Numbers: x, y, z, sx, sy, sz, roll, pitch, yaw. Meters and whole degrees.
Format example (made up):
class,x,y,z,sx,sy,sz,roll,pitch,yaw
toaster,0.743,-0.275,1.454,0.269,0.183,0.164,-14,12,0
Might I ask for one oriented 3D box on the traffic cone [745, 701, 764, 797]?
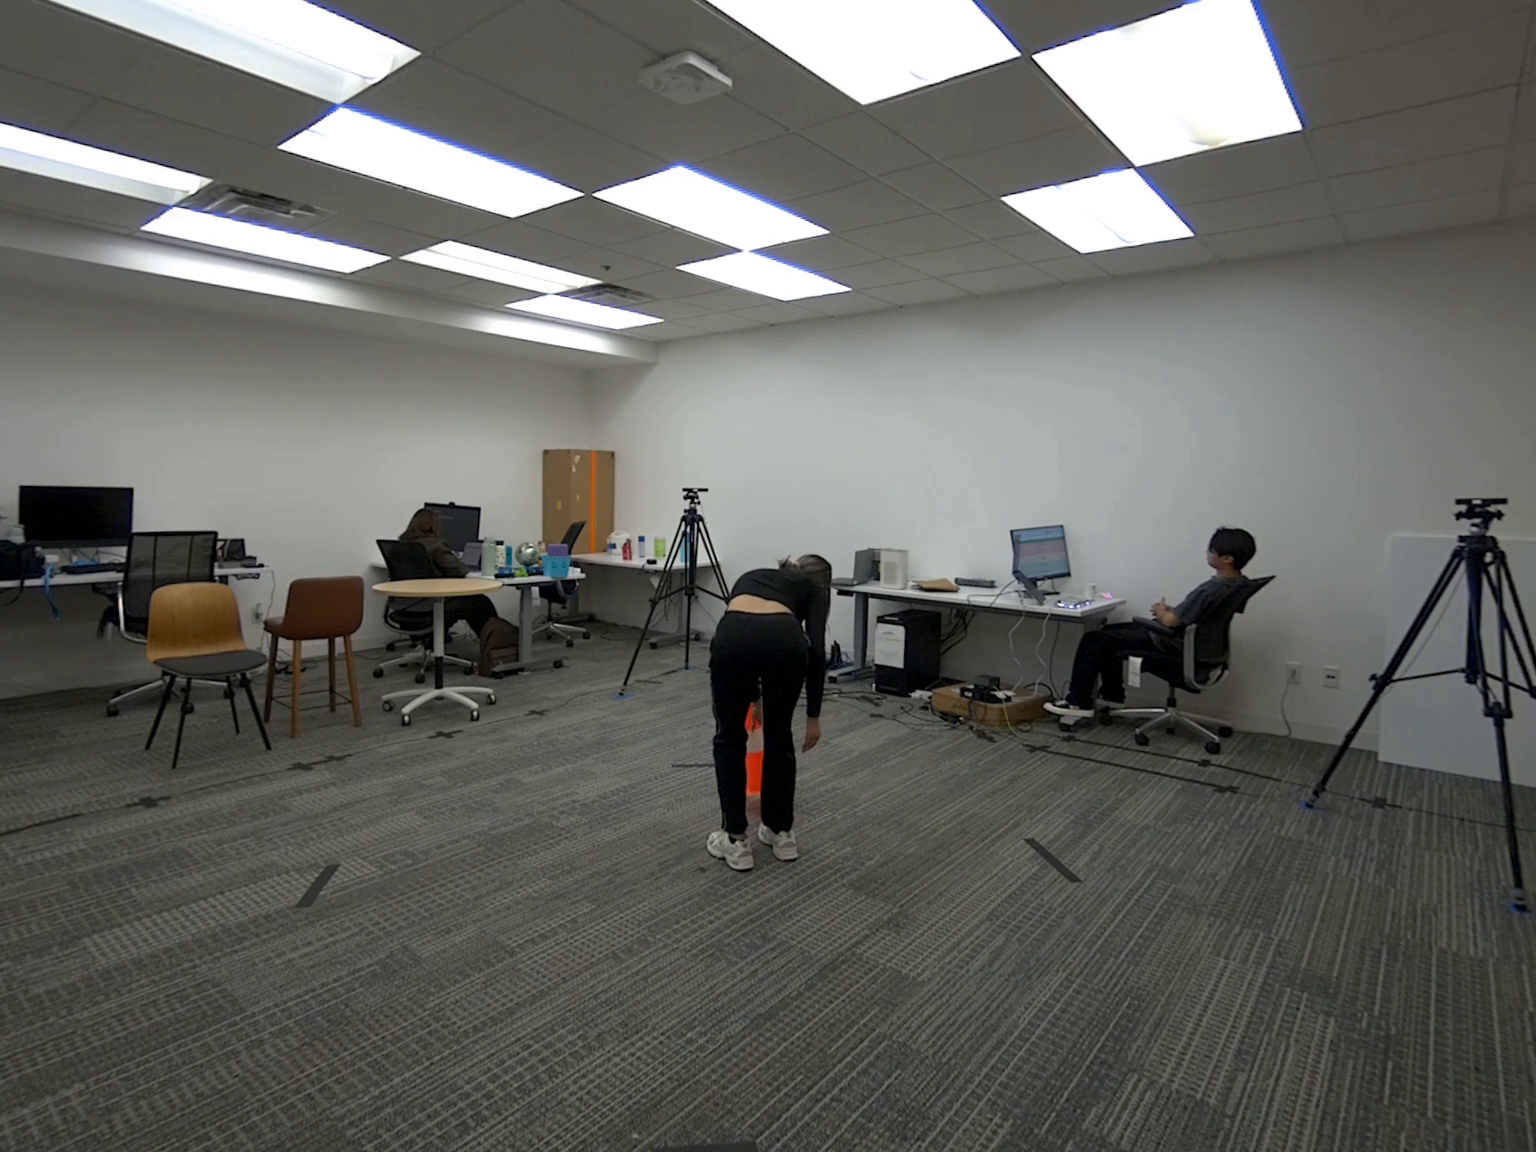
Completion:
class,x,y,z,sx,sy,sz,roll,pitch,yaw
traffic cone,-0.057,0.721,3.743,0.209,0.383,0.200,-7,2,21
